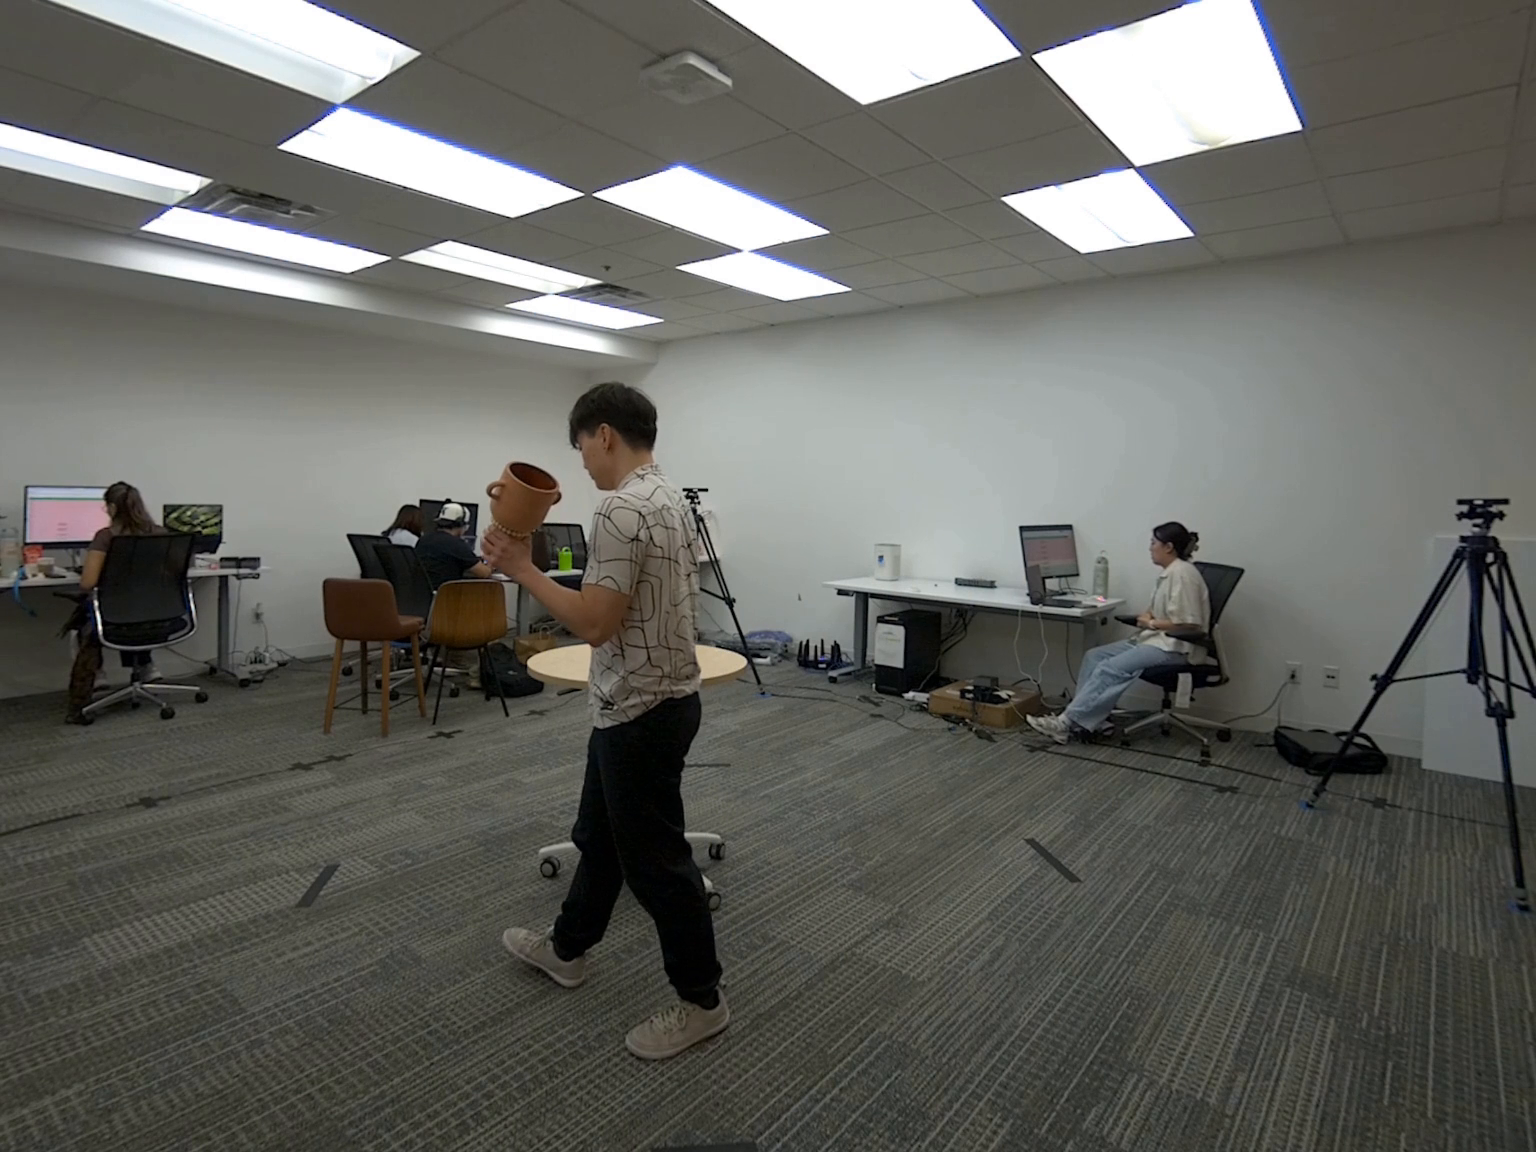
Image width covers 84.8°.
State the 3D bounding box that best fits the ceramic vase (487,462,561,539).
[{"bbox_3d":[-0.611,-0.153,2.033,0.157,0.218,0.137,27,22,-10],"label":"ceramic vase"}]
